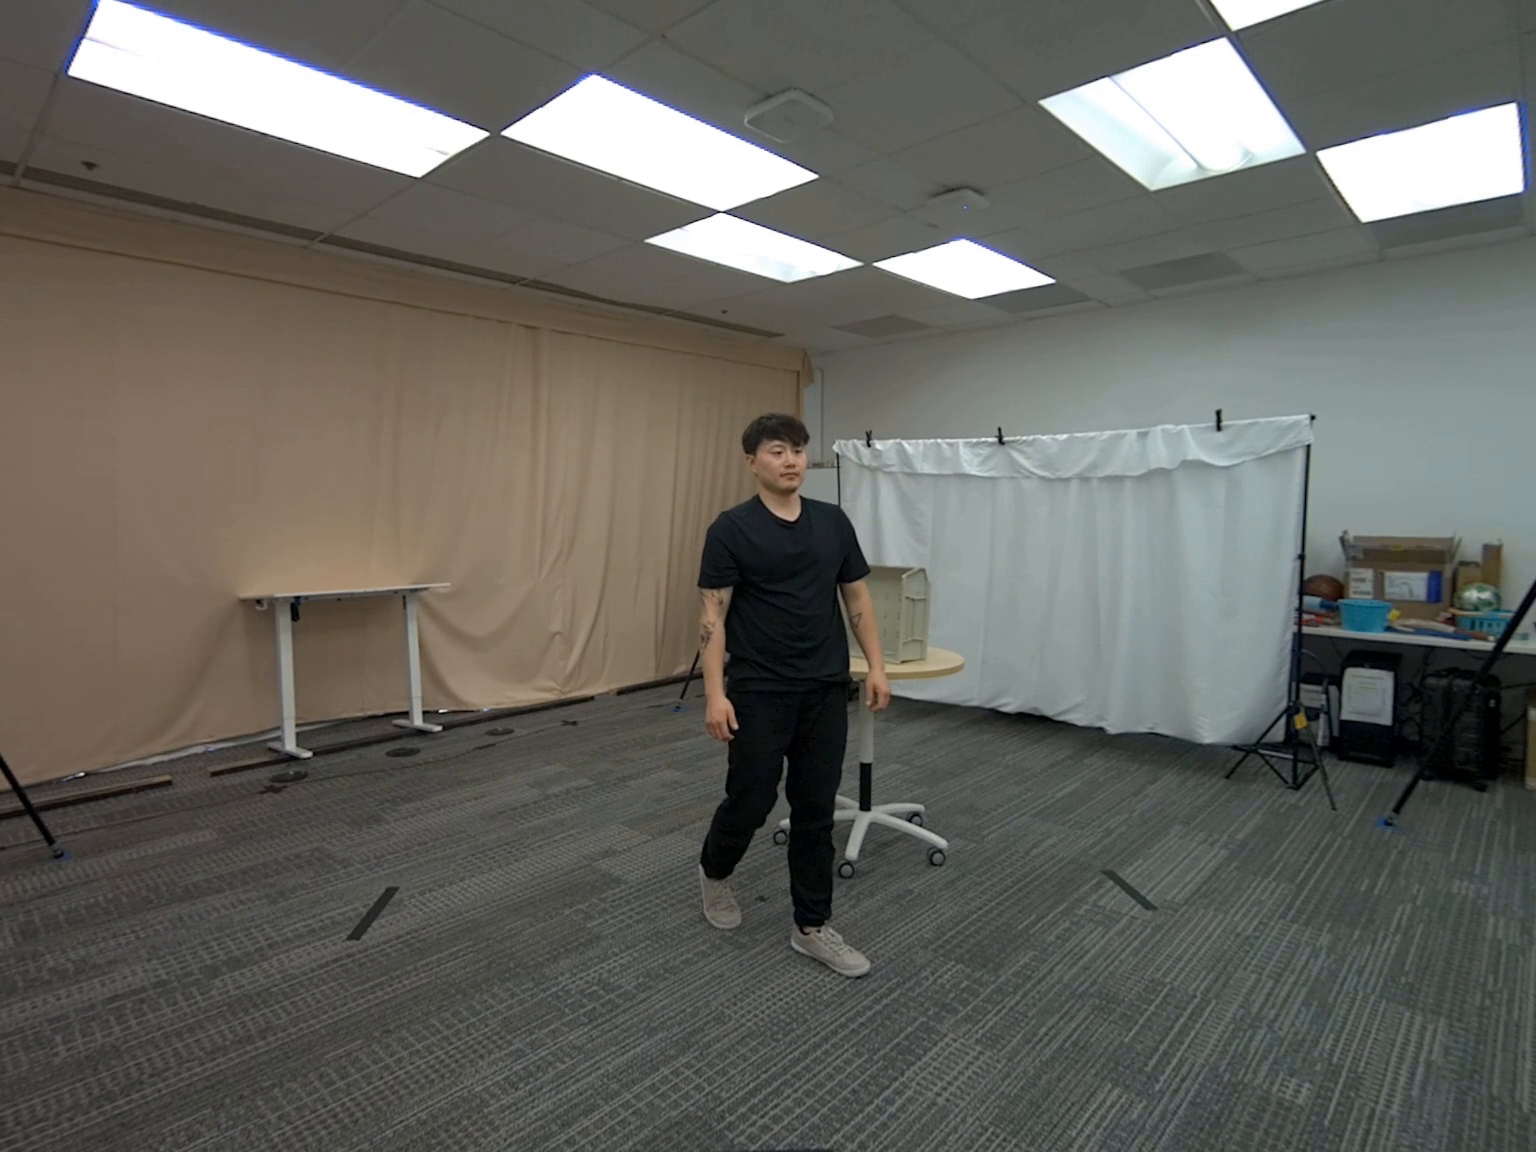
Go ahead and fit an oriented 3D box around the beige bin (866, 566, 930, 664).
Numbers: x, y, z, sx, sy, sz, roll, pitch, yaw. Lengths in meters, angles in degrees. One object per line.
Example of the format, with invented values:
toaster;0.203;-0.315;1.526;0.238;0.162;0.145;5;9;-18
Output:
beige bin;0.433;0.140;3.428;0.183;0.377;0.436;4;0;-42
